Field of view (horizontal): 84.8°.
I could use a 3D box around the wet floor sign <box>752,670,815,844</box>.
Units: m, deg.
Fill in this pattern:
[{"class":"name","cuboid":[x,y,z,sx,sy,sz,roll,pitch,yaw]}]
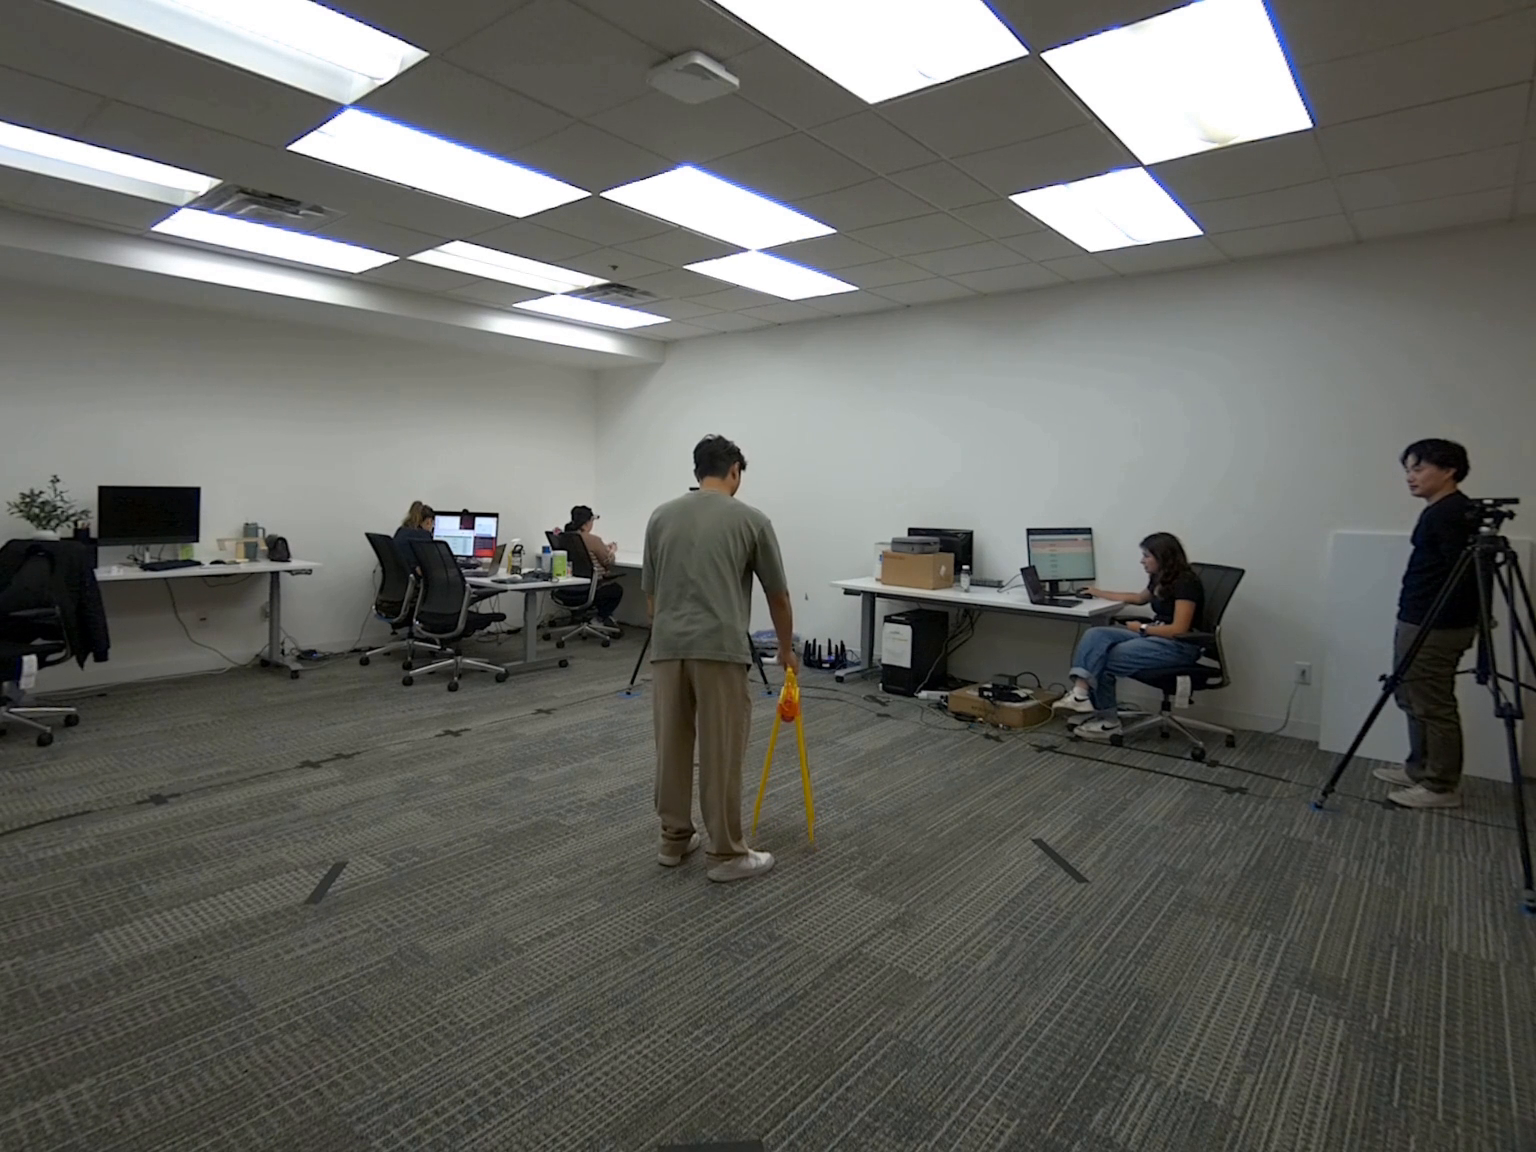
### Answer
[{"class":"wet floor sign","cuboid":[0.065,0.677,3.396,0.291,0.644,0.281,3,3,4]}]
